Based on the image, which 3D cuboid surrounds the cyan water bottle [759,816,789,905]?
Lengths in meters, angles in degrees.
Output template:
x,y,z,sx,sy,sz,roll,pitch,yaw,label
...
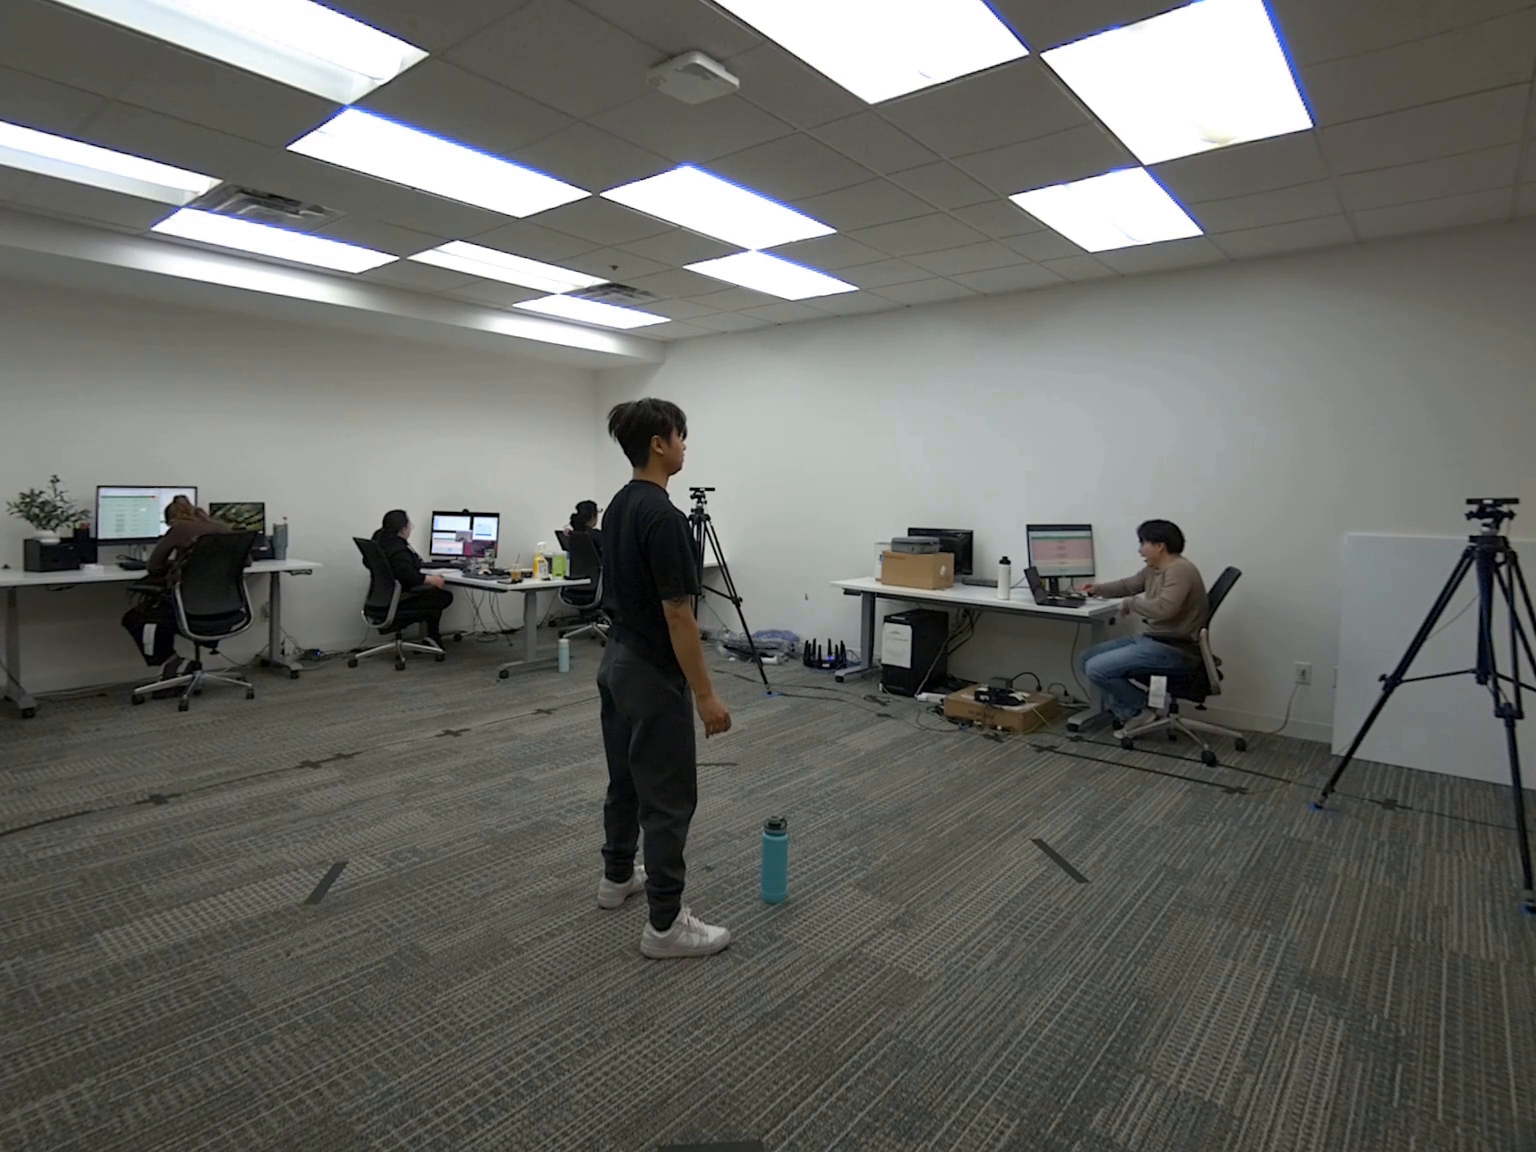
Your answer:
x,y,z,sx,sy,sz,roll,pitch,yaw,label
0.012,0.960,2.885,0.092,0.283,0.092,1,2,-2,cyan water bottle
